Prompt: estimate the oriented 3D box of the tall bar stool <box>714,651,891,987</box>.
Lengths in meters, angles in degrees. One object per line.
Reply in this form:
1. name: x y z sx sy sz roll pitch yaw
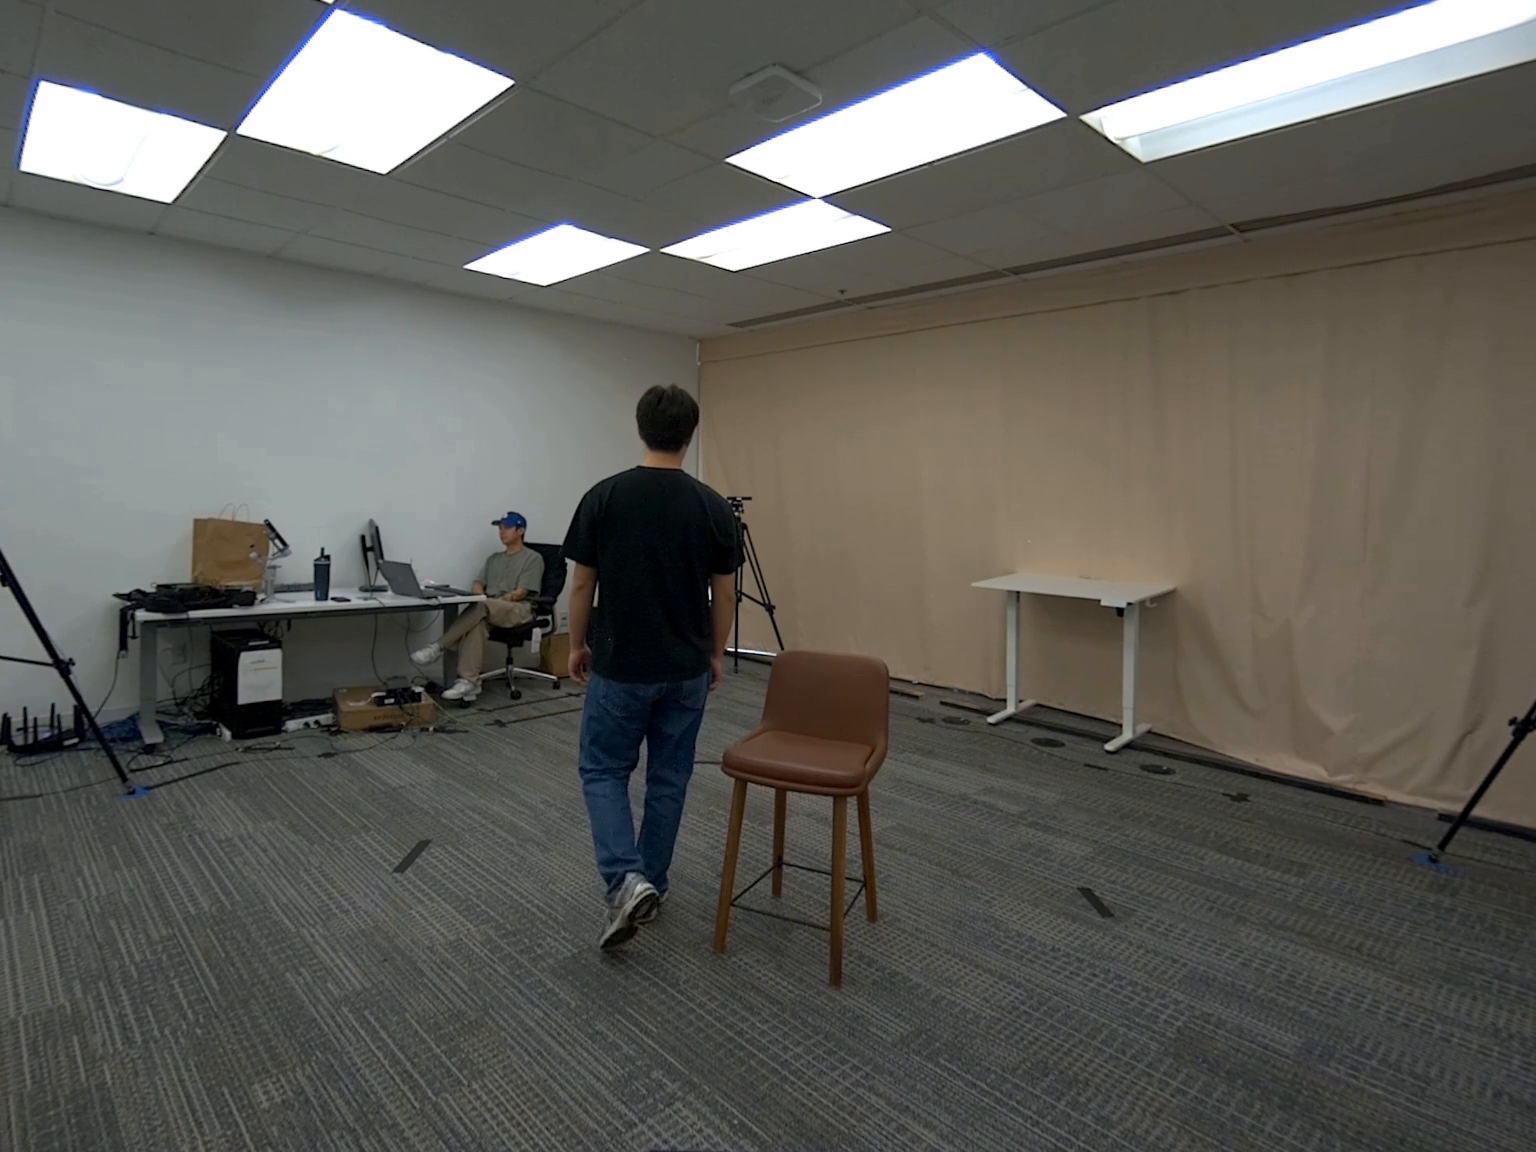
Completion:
1. tall bar stool: 0.118 0.718 2.666 0.465 0.889 0.459 4 2 26
